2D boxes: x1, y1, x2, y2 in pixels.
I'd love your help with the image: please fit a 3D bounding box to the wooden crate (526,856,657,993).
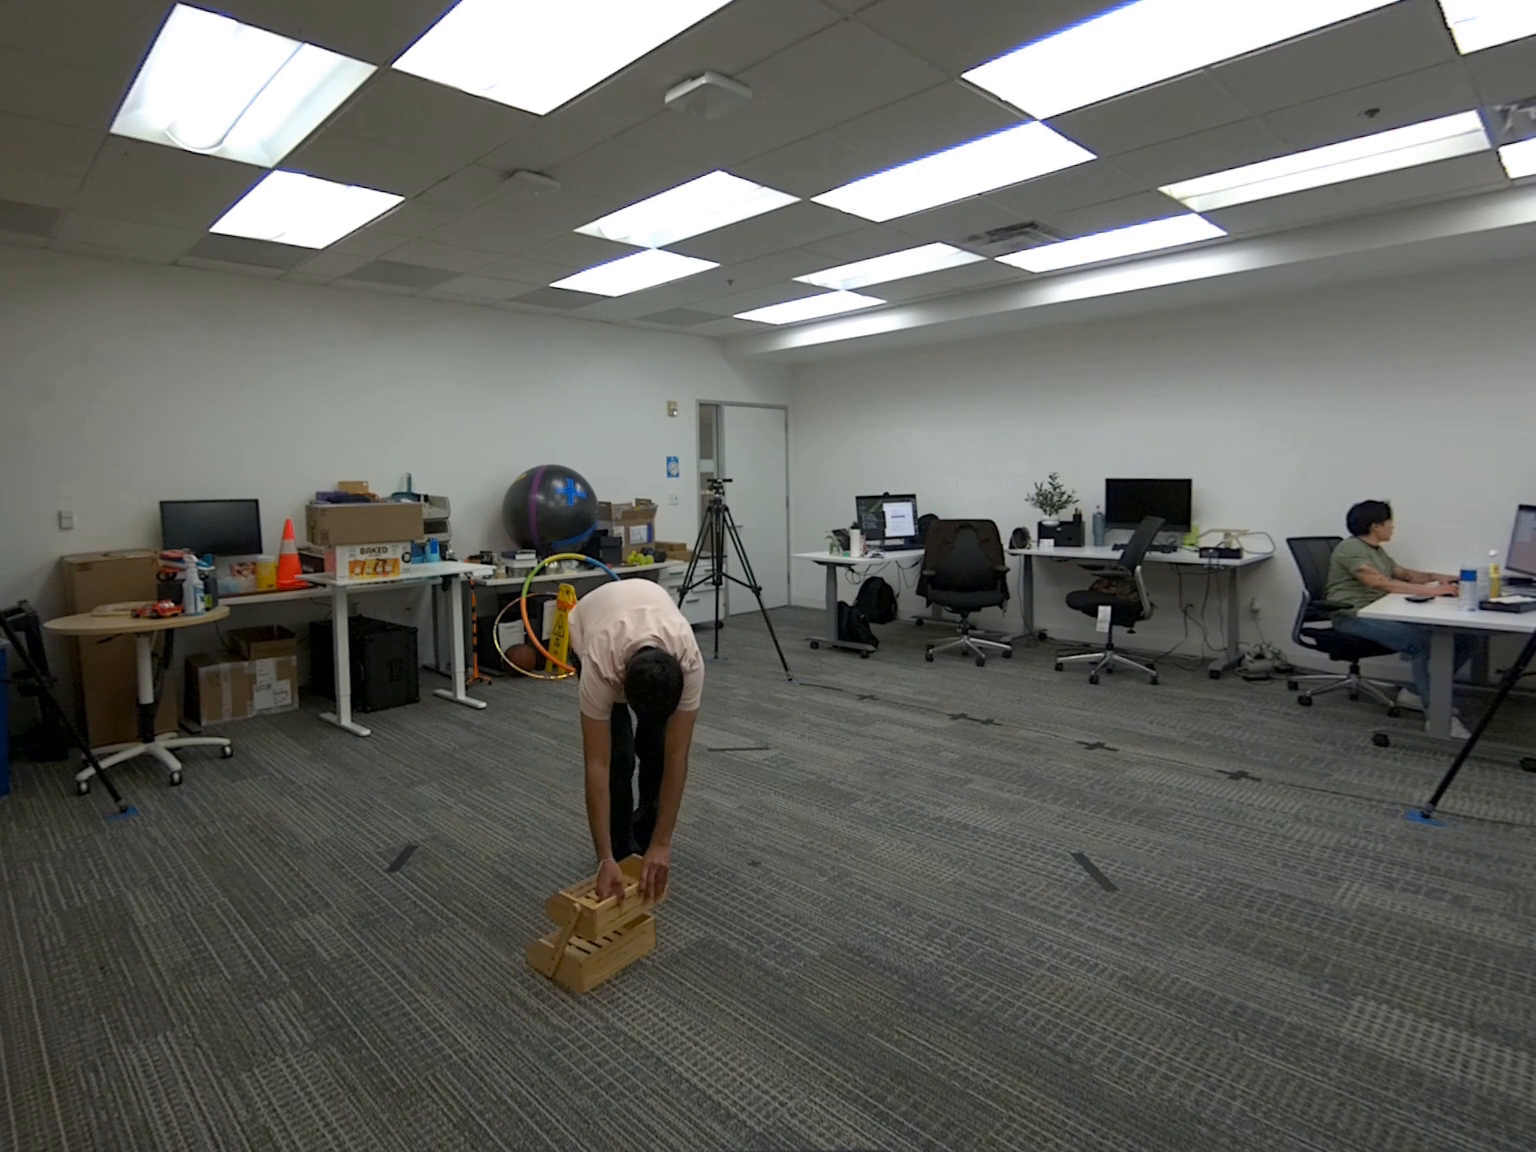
[{"bbox_3d":[-0.501,0.994,2.507,0.311,0.272,0.316,3,7,37],"label":"wooden crate"}]
